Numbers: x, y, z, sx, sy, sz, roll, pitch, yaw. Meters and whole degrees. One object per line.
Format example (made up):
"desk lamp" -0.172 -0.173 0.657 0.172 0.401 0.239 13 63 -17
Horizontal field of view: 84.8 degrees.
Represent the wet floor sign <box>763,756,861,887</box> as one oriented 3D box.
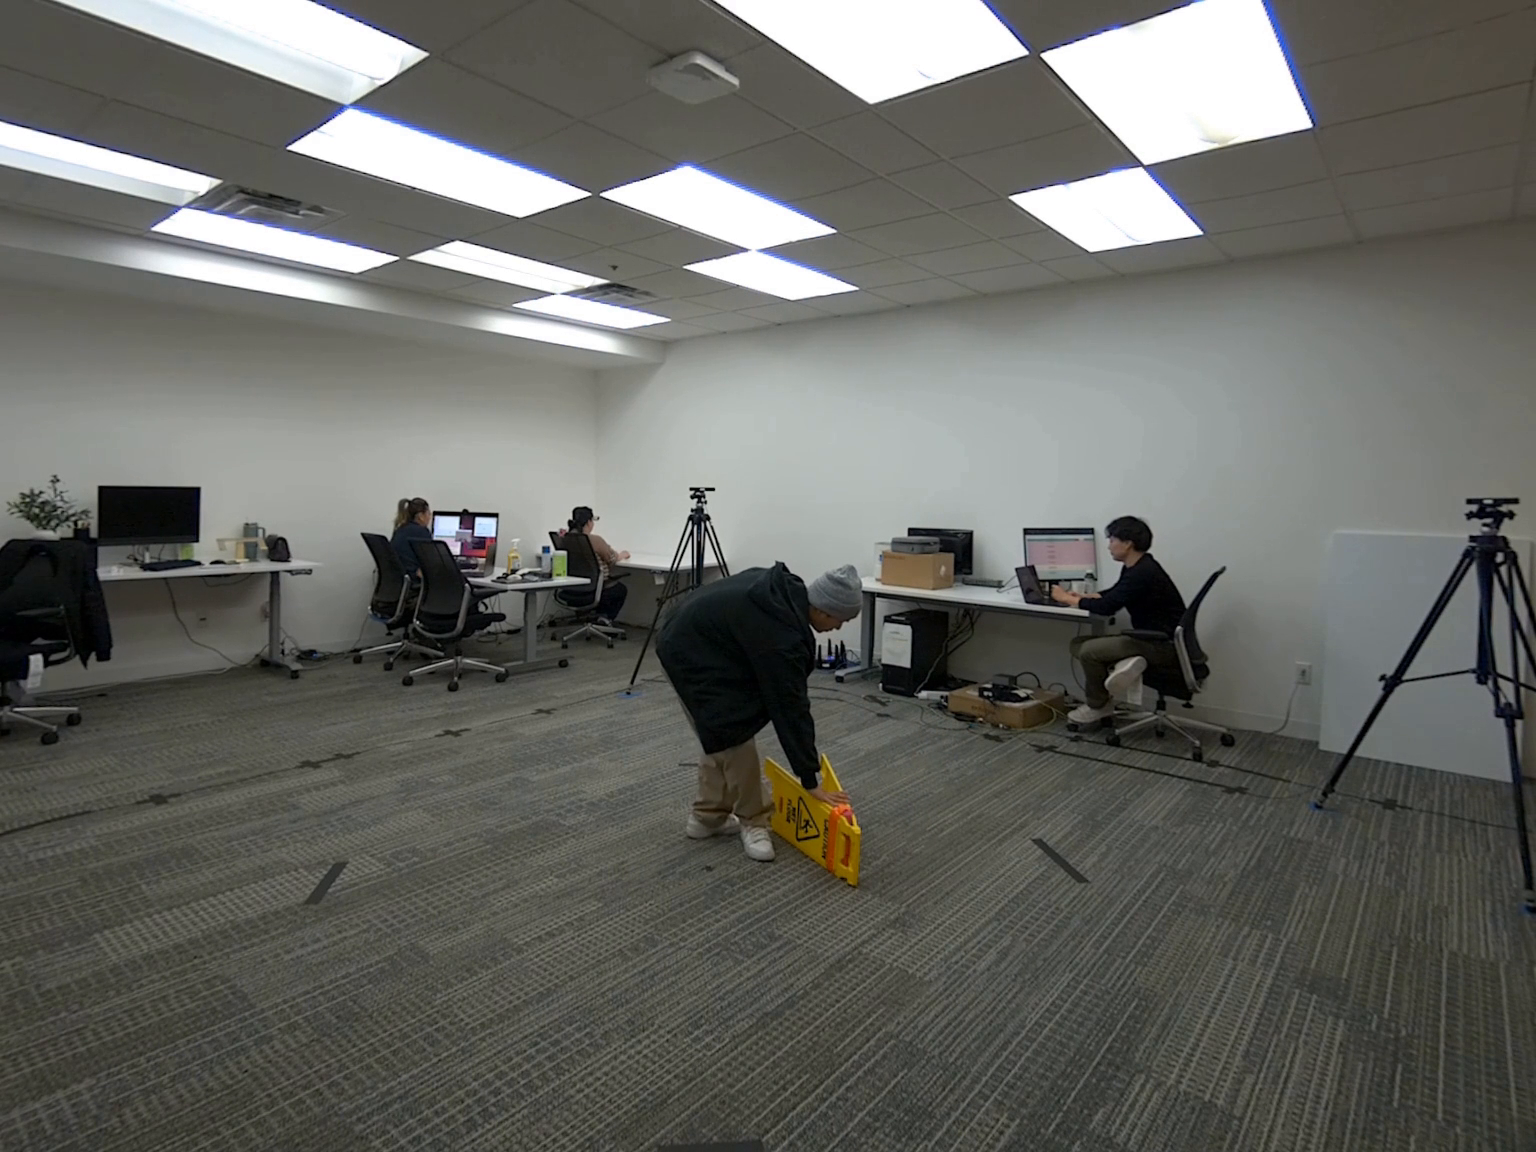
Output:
"wet floor sign" 0.207 0.934 3.277 0.285 0.281 0.661 1 8 -18
